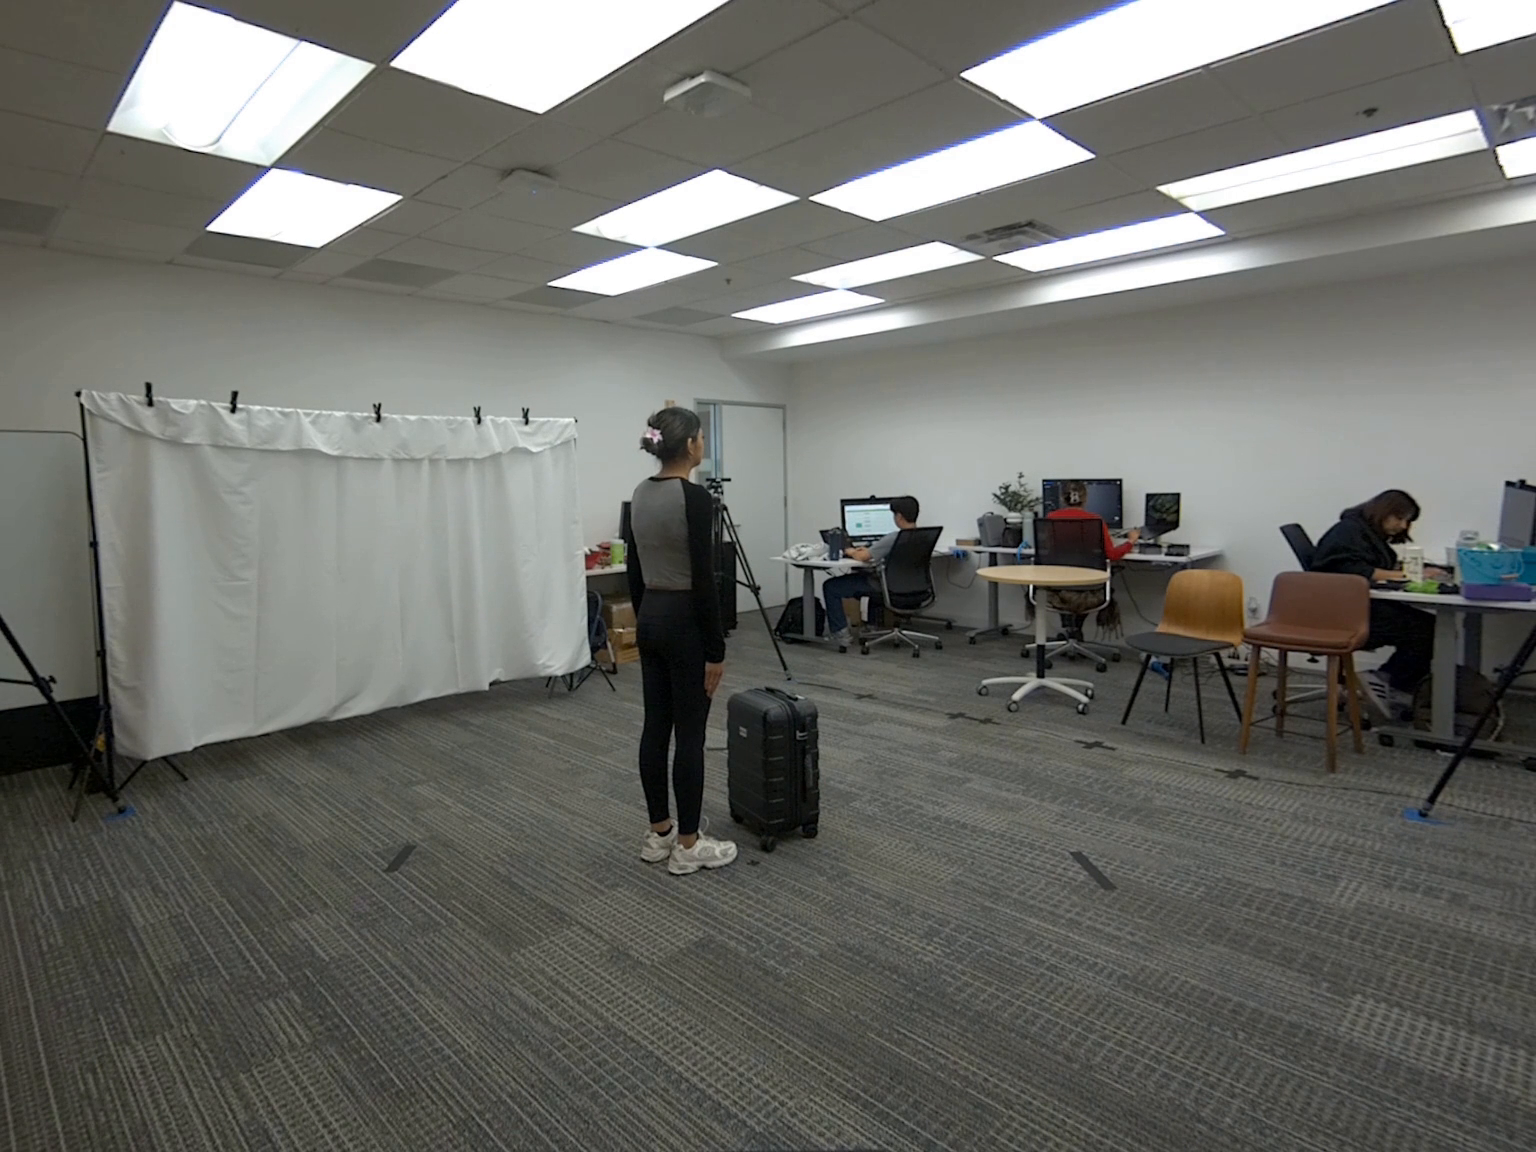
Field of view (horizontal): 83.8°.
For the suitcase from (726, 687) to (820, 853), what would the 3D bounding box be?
[{"bbox_3d":[0.018,0.729,3.389,0.242,0.547,0.386,-3,6,-30],"label":"suitcase"}]
